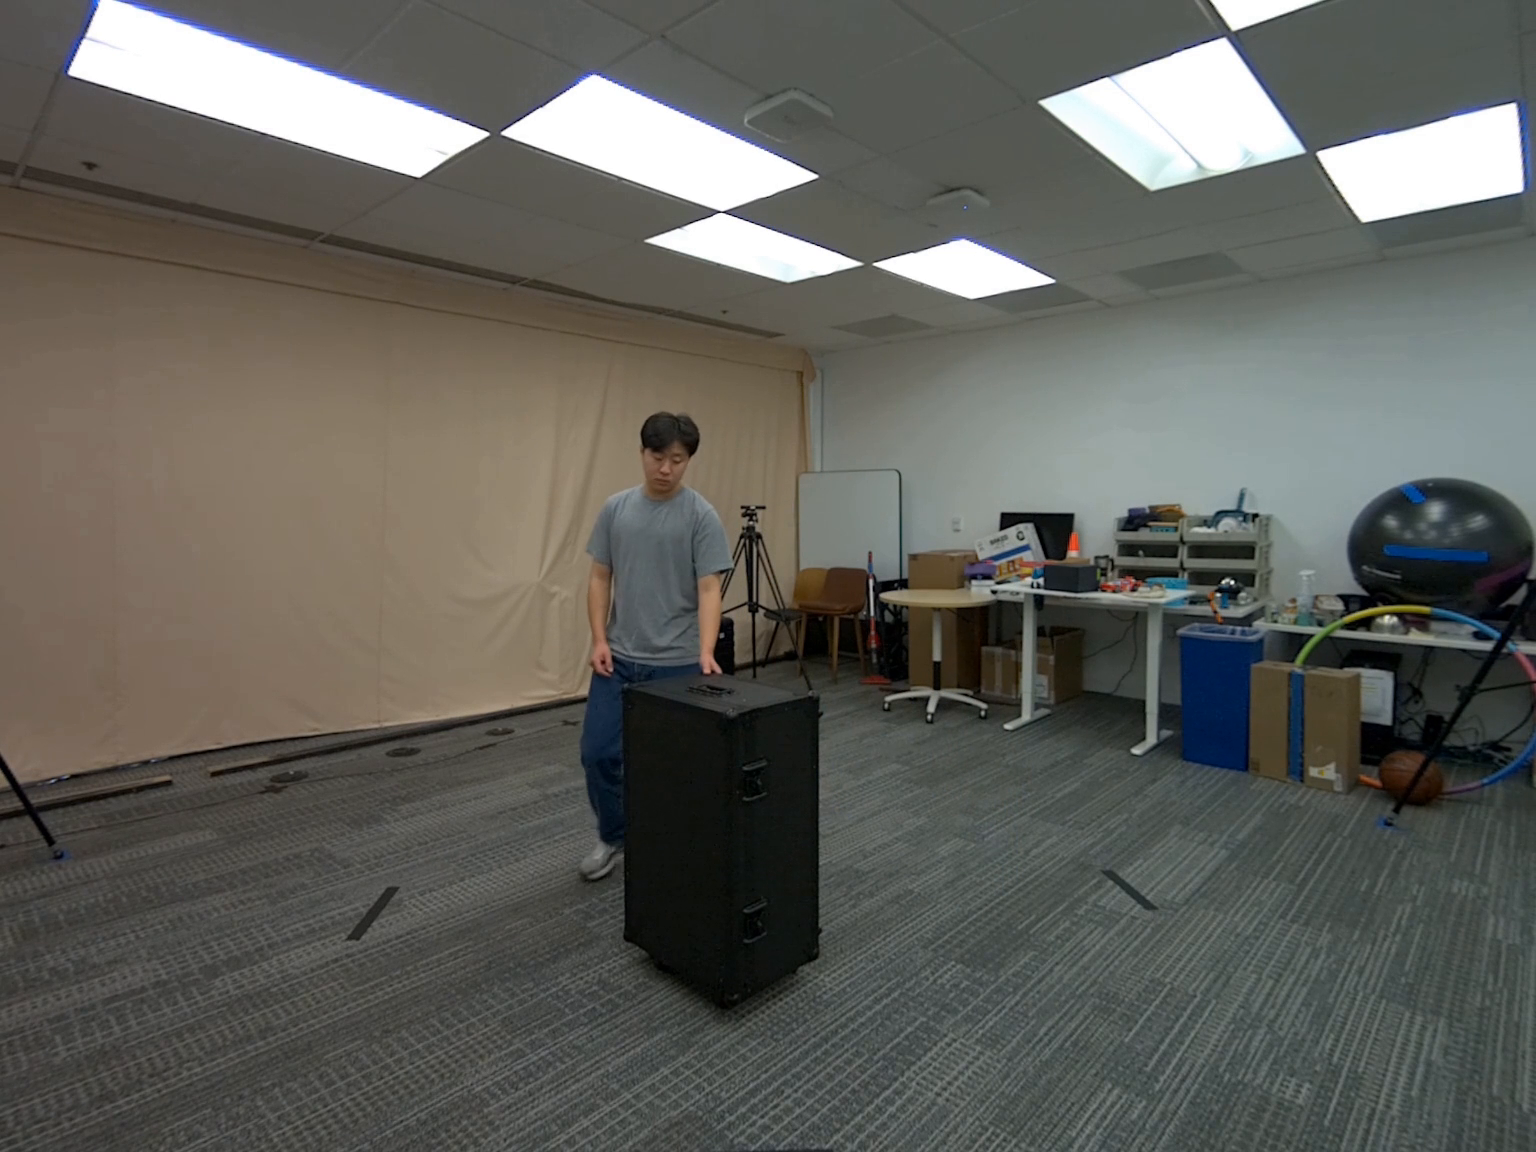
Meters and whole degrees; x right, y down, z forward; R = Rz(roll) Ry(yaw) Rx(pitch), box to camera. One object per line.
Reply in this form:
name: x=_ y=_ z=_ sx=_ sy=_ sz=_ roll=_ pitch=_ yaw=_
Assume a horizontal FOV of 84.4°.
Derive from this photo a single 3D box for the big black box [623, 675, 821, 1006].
big black box: x=-0.135 y=0.762 z=2.503 sx=0.538 sy=0.860 sz=0.384 roll=3 pitch=4 yaw=45
